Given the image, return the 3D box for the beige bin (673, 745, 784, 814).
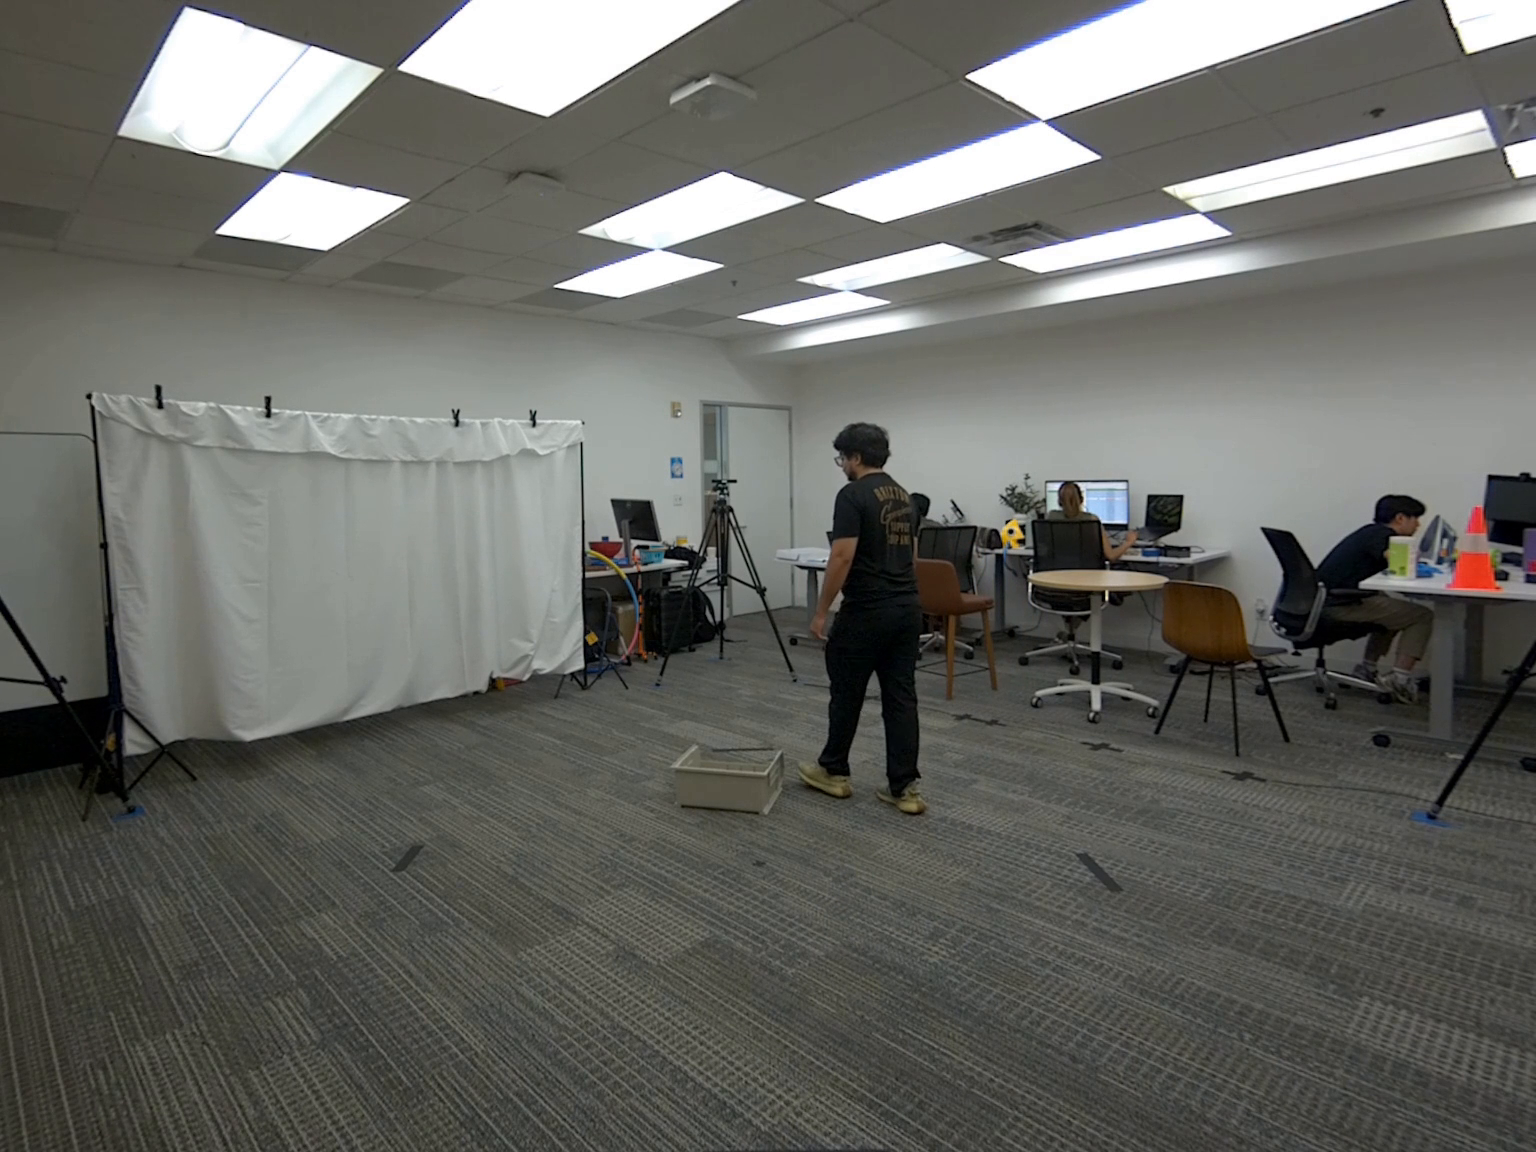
[{"bbox_3d":[-0.170,0.887,3.780,0.429,0.188,0.374,1,7,15],"label":"beige bin"}]
